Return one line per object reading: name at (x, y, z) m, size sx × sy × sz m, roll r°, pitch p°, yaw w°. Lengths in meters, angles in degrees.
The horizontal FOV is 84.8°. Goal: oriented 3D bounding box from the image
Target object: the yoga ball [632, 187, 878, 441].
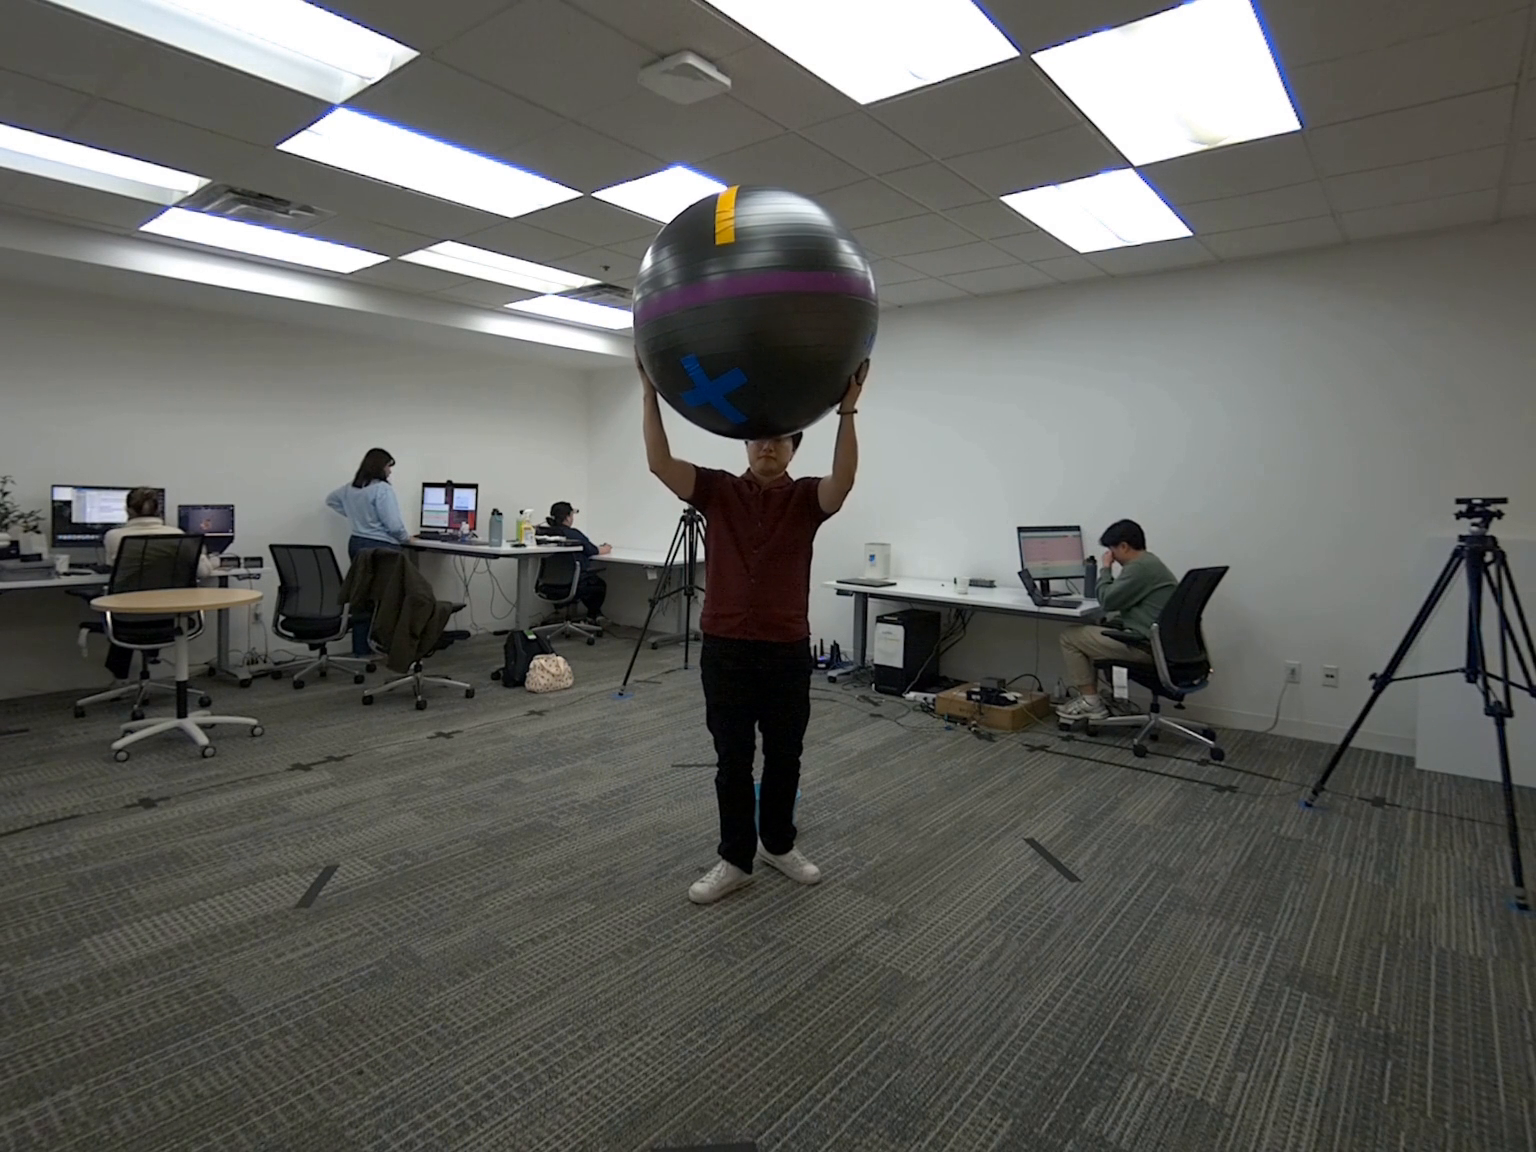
yoga ball at (-0.041, -0.795, 2.630) m, size 0.757 × 0.755 × 0.762 m, roll 1°, pitch 4°, yaw -2°
